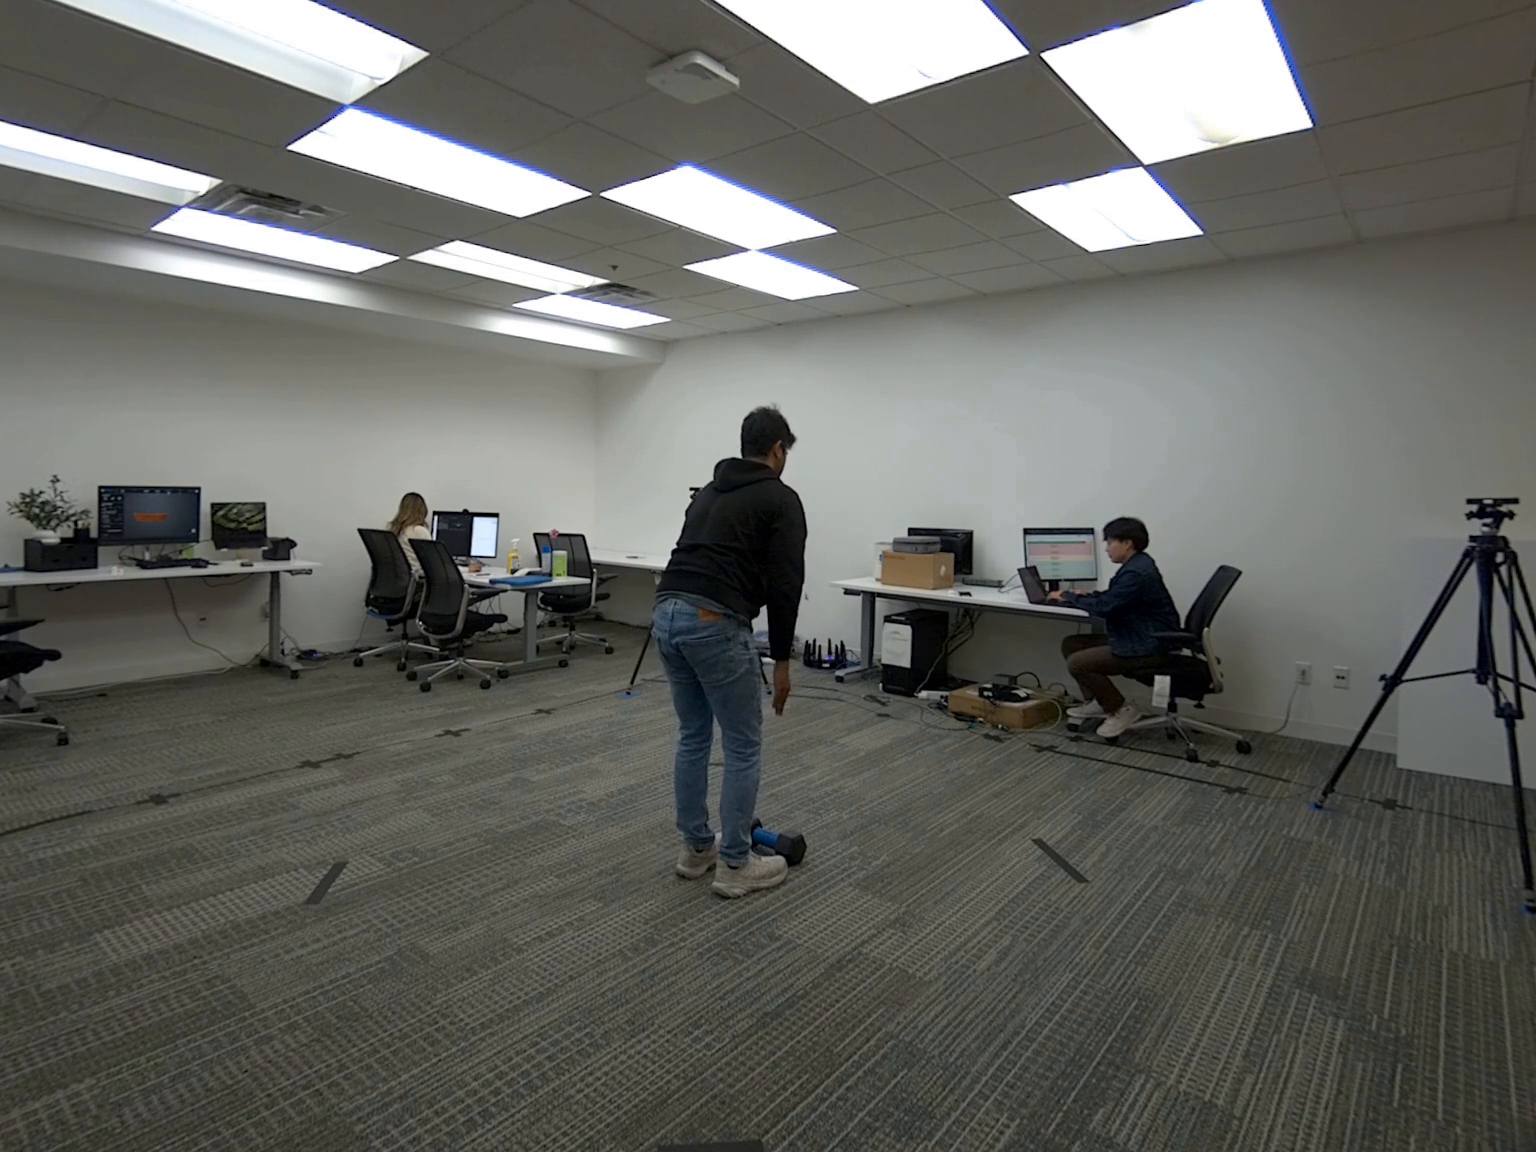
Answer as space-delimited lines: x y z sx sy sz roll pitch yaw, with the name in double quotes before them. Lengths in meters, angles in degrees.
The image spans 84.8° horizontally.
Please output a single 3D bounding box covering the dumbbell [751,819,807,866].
"dumbbell" -0.009 1.000 3.246 0.303 0.124 0.104 6 -26 40
